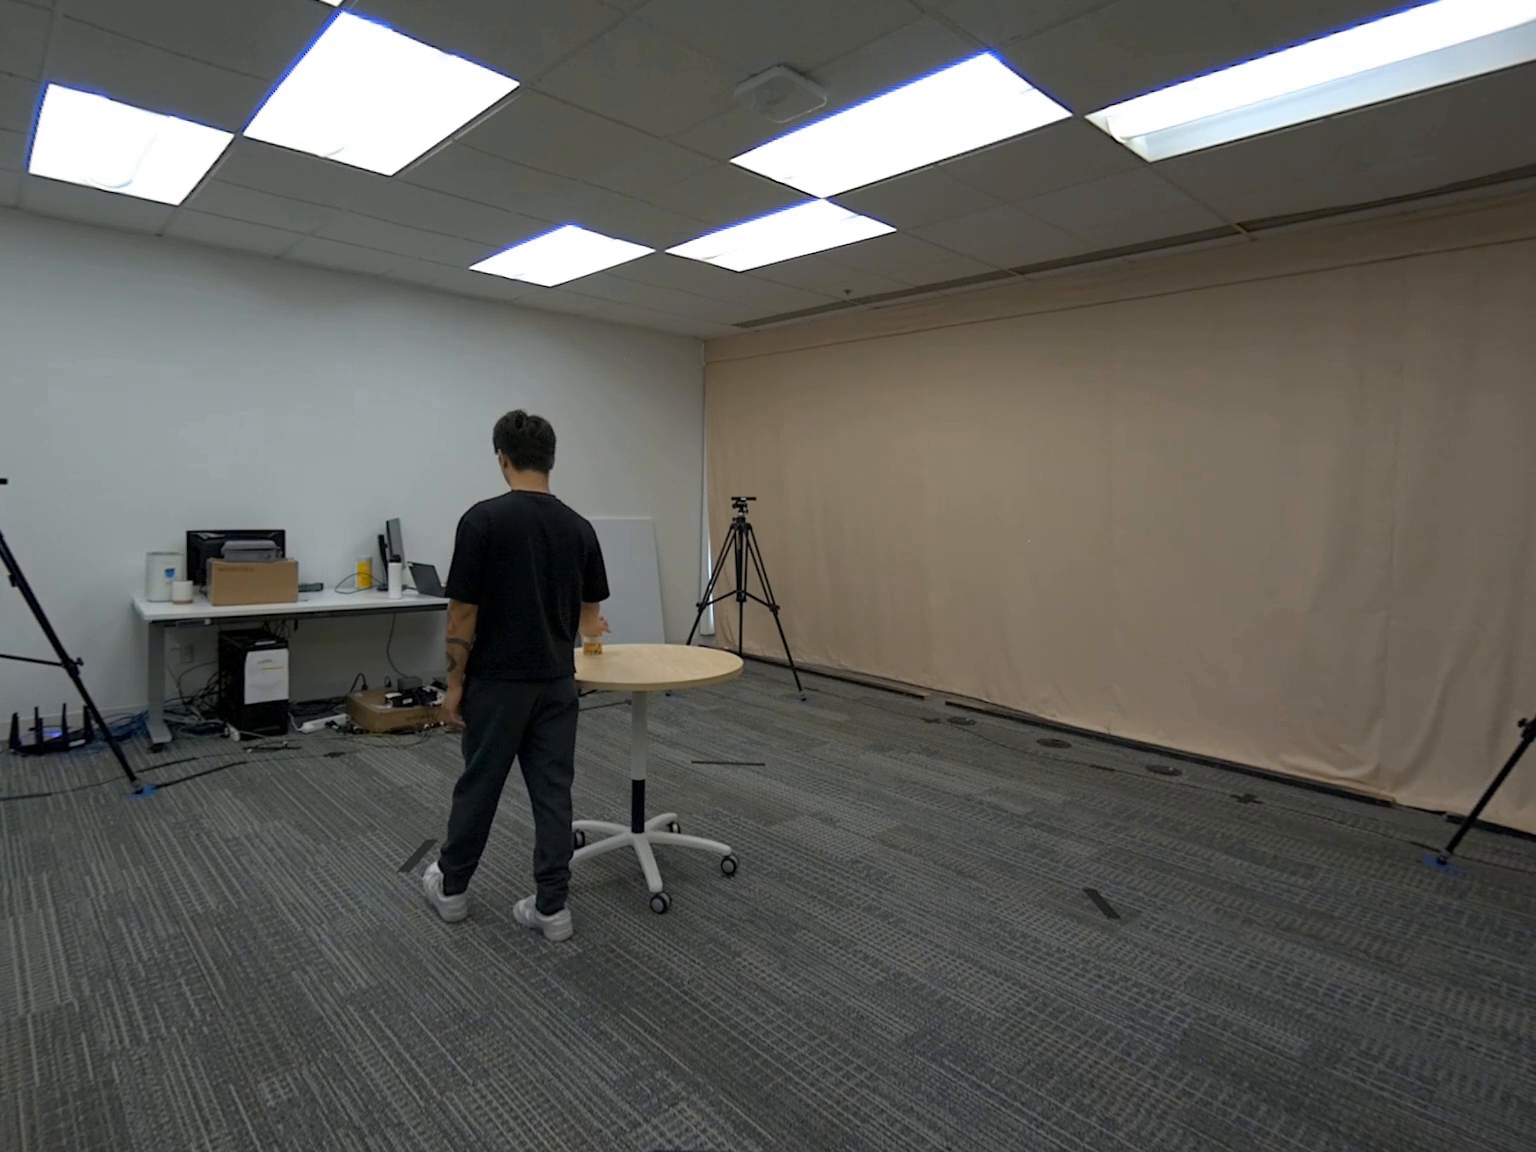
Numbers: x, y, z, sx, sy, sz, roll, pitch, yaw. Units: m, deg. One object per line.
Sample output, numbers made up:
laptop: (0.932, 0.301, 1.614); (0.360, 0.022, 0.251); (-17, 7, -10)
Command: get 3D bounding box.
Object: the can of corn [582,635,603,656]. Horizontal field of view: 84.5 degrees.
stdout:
can of corn: (-0.691, 0.246, 3.260); (0.074, 0.111, 0.074); (2, 5, -2)
